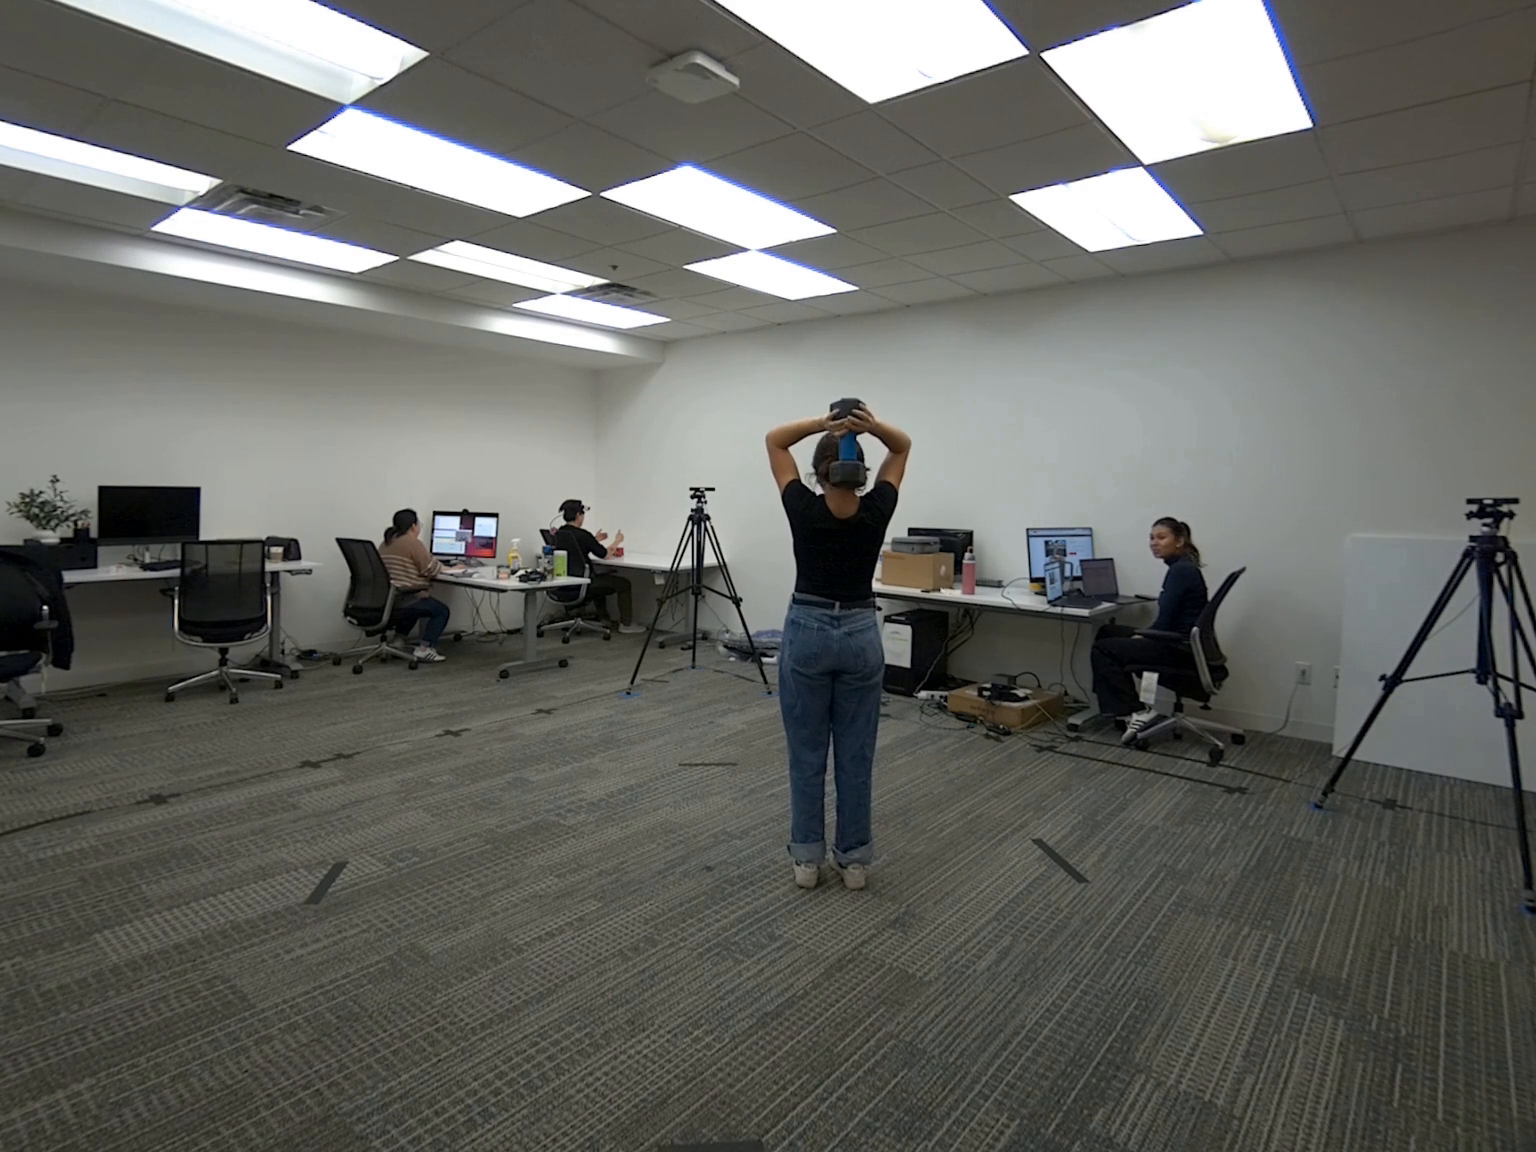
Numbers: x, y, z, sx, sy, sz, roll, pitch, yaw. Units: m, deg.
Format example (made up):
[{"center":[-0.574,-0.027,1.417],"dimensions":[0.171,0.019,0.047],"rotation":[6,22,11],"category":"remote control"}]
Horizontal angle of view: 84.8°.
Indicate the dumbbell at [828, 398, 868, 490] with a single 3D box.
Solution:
[{"center":[0.259,-0.448,2.853],"dimensions":[0.112,0.295,0.119],"rotation":[-4,-8,35],"category":"dumbbell"}]
